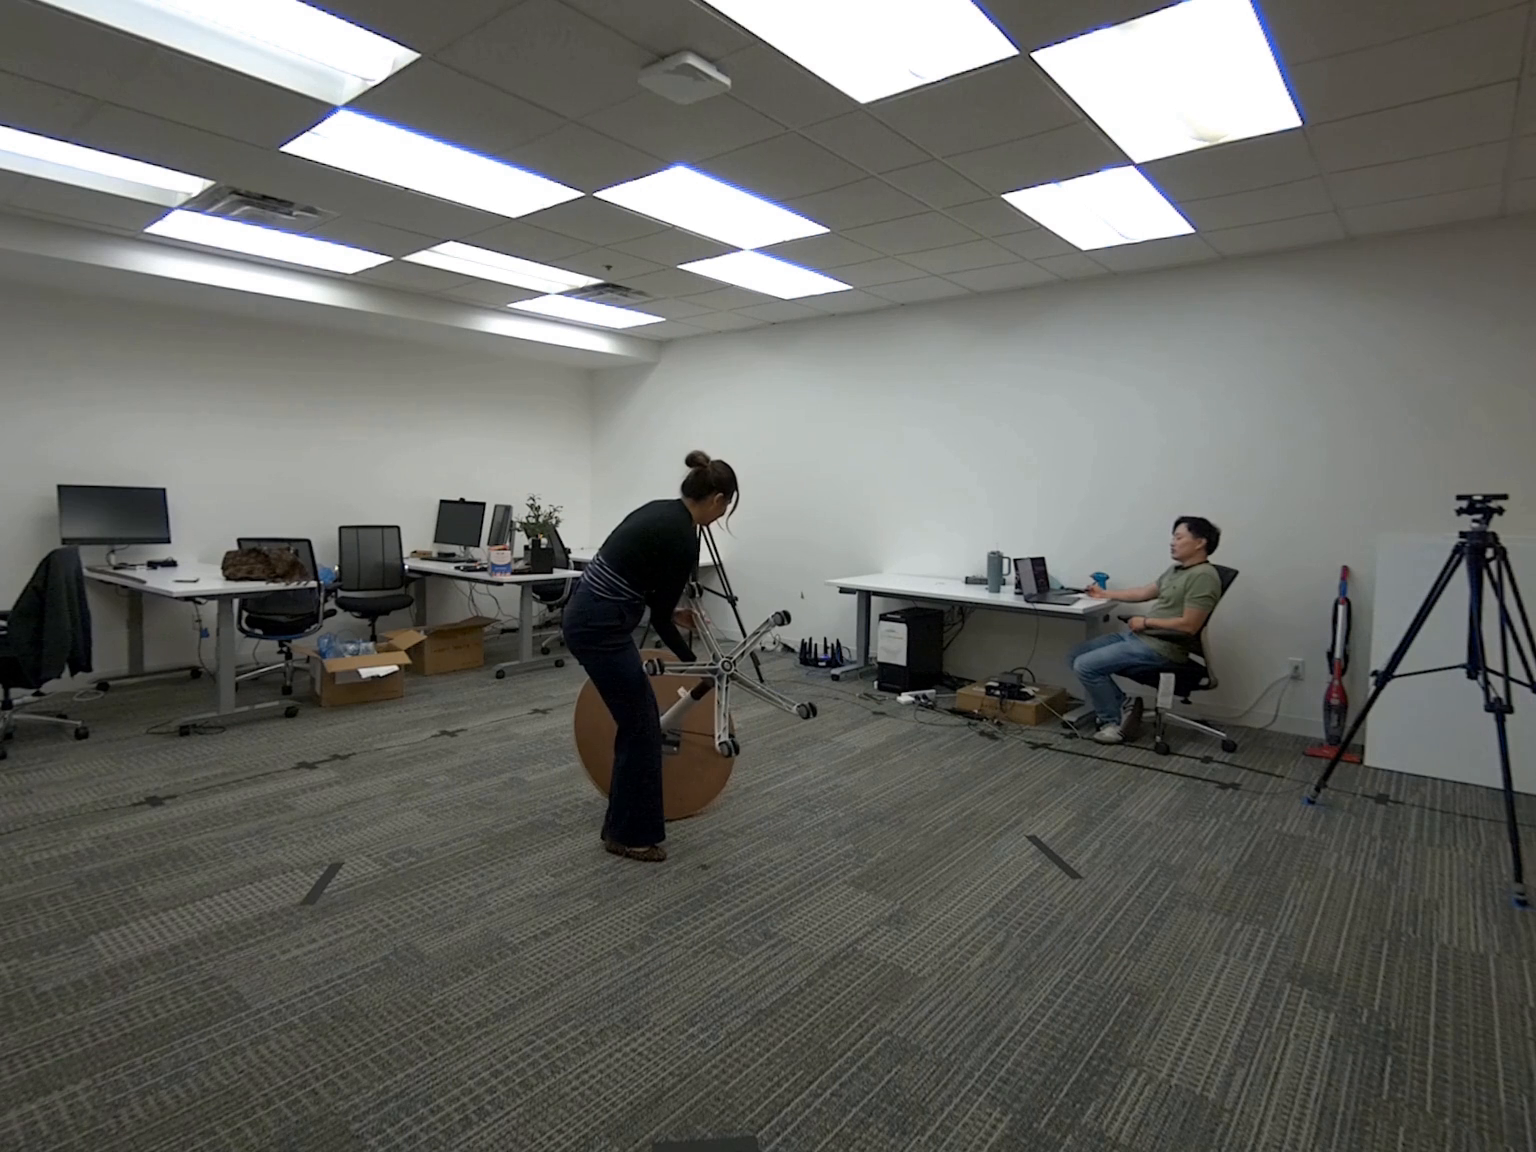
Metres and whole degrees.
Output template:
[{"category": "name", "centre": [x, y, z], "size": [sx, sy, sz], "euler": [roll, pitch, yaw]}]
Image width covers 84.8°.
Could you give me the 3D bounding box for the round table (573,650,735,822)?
[{"category": "round table", "centre": [-0.321, 0.486, 3.452], "size": [0.743, 0.787, 0.793], "euler": [-2, -30, -32]}]
